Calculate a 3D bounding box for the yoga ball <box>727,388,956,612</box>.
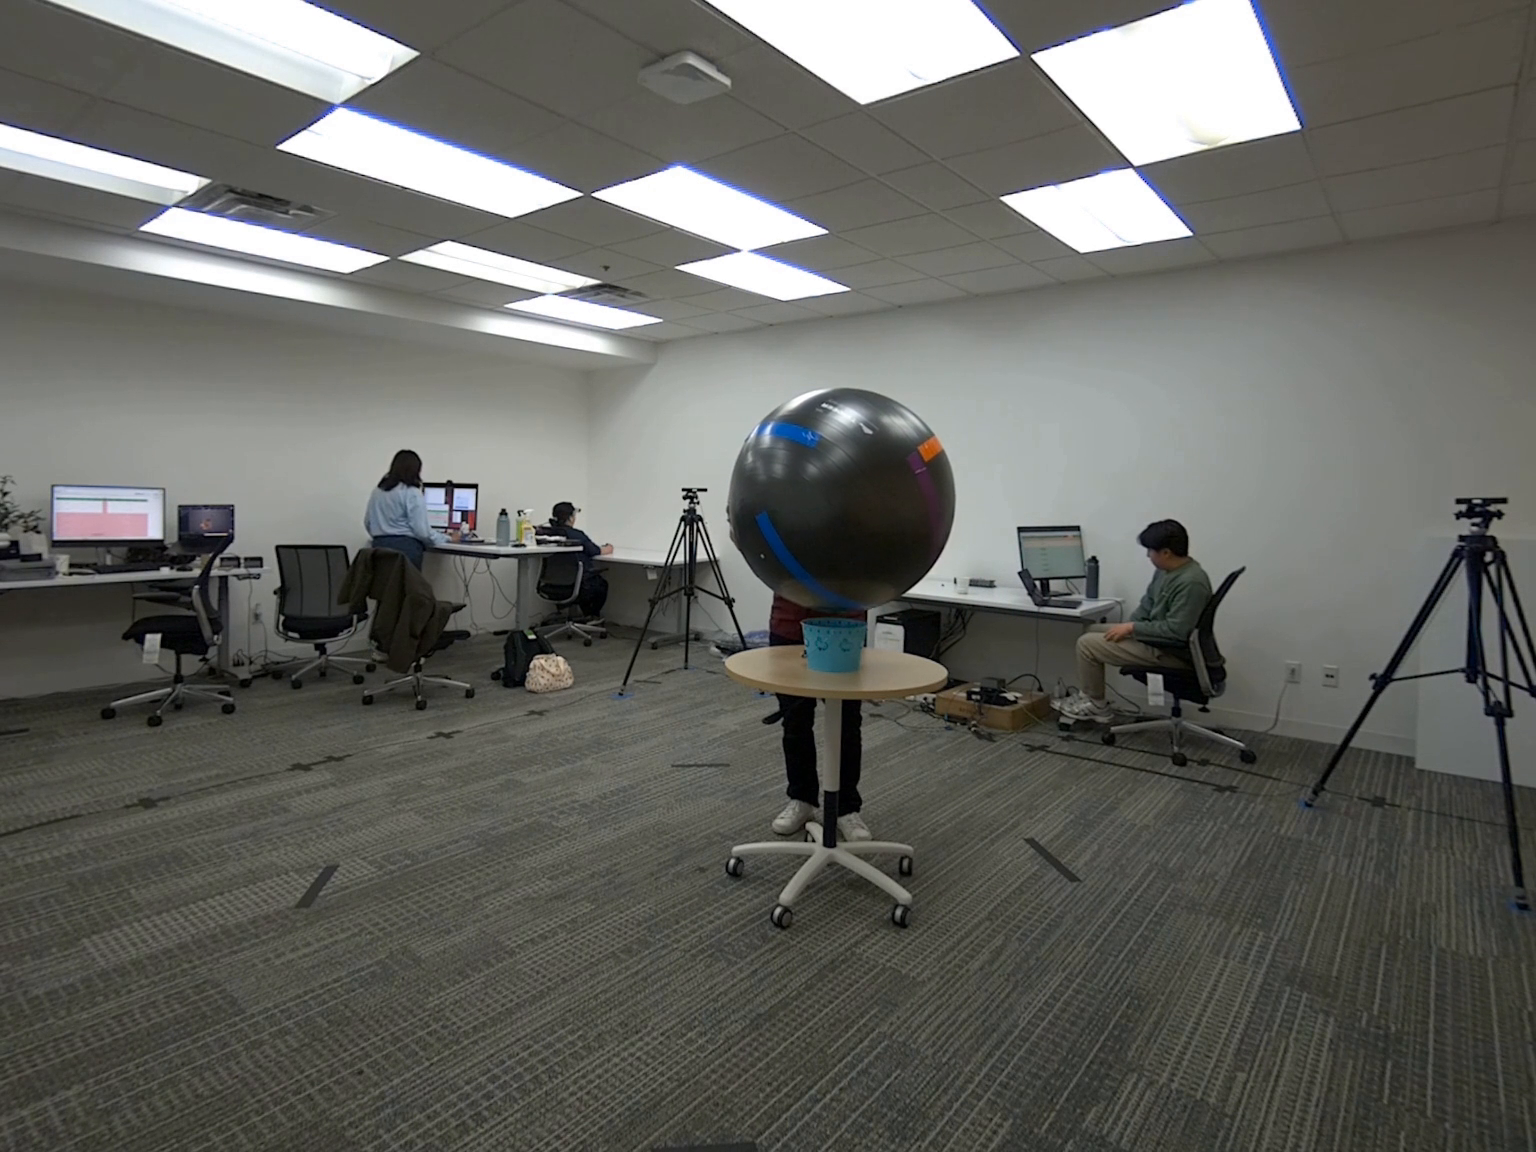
[{"bbox_3d":[0.237,-0.252,2.880,0.757,0.756,0.761,1,4,-2],"label":"yoga ball"}]
